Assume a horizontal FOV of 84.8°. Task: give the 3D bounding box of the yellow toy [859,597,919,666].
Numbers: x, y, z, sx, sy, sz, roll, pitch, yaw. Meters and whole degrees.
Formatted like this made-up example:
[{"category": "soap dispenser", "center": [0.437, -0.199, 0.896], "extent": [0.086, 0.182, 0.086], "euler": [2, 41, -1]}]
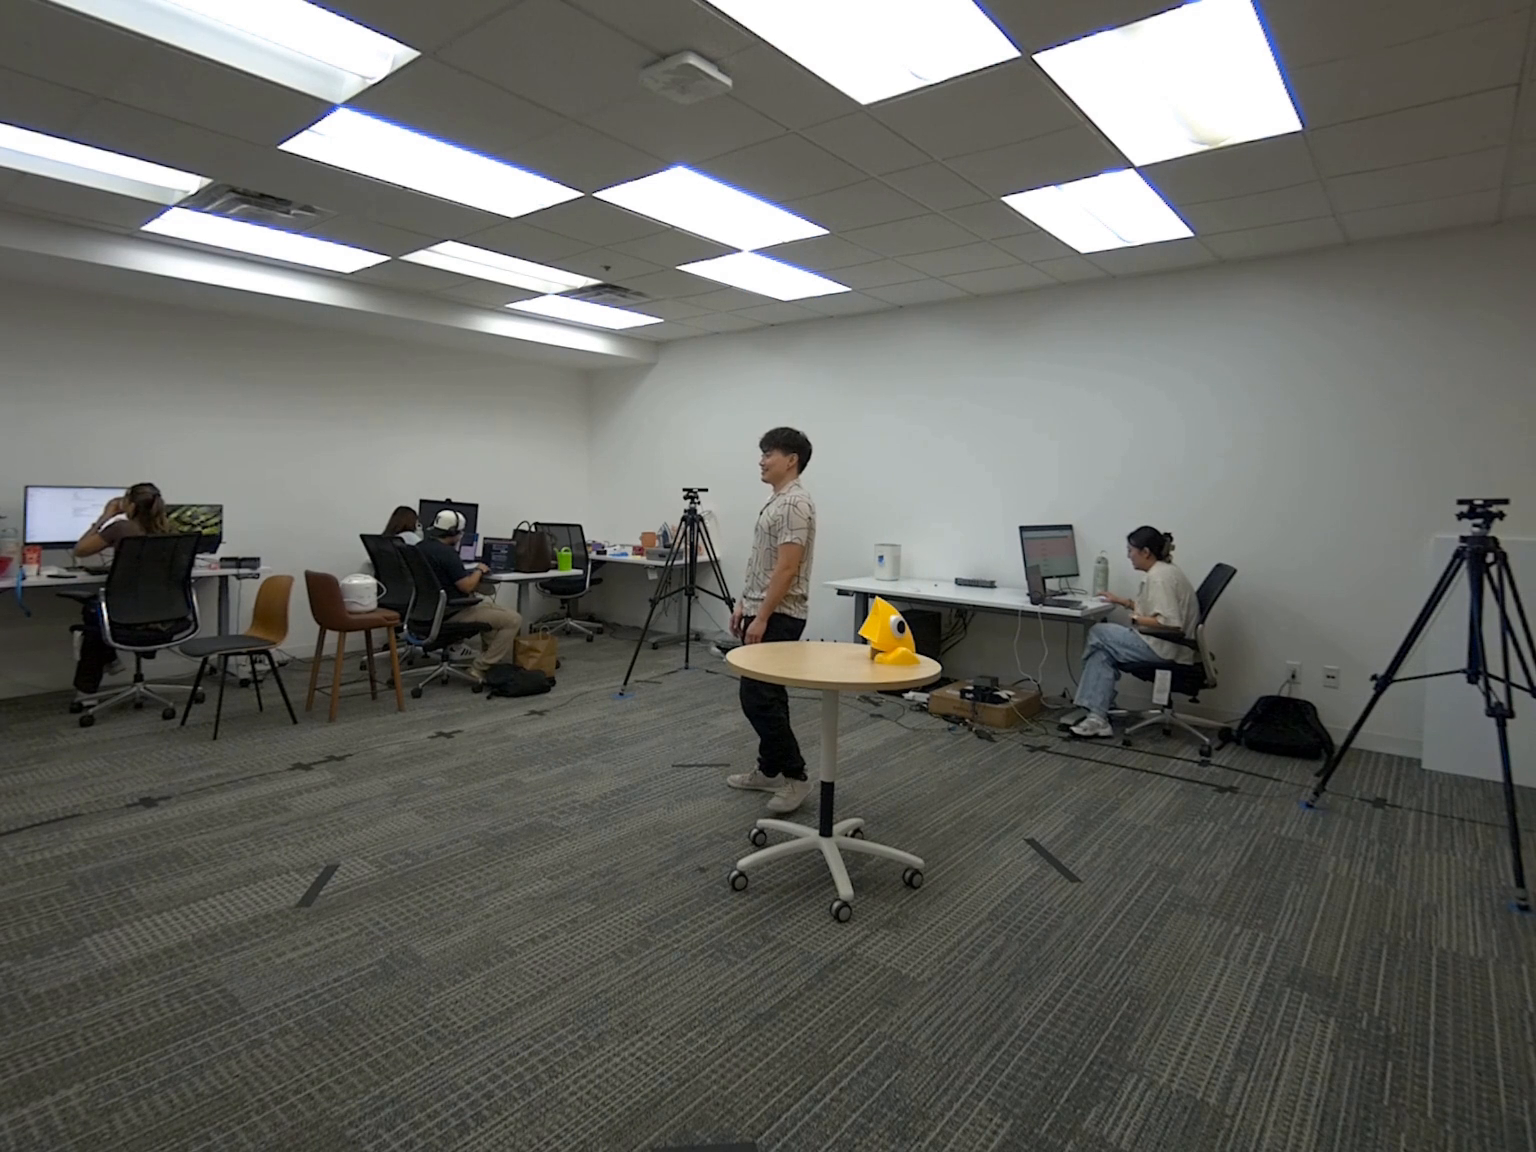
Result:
[{"category": "yellow toy", "center": [0.443, 0.185, 3.101], "extent": [0.191, 0.230, 0.207], "euler": [0, 4, -10]}]
